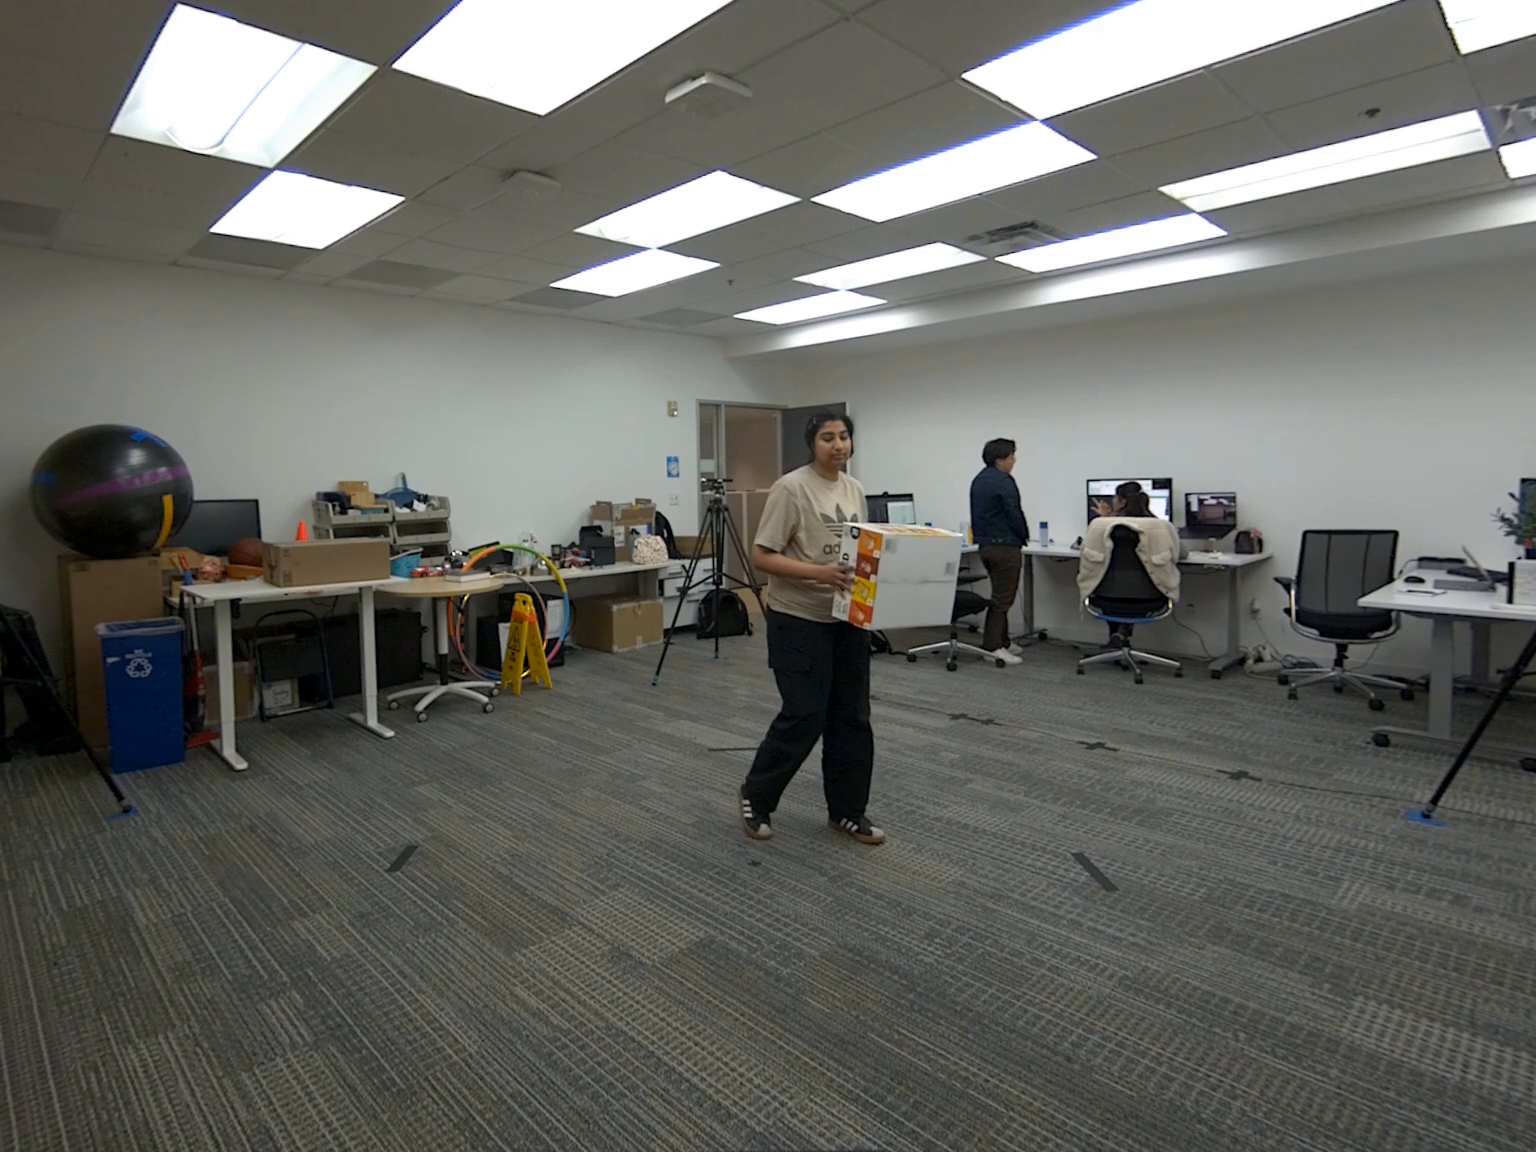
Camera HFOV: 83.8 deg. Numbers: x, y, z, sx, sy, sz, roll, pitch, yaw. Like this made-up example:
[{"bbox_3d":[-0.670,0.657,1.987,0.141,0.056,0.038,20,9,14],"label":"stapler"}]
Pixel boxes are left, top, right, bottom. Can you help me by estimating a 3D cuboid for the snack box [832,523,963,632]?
[{"bbox_3d":[0.462,0.000,3.061,0.394,0.338,0.213,0,12,-34],"label":"snack box"}]
